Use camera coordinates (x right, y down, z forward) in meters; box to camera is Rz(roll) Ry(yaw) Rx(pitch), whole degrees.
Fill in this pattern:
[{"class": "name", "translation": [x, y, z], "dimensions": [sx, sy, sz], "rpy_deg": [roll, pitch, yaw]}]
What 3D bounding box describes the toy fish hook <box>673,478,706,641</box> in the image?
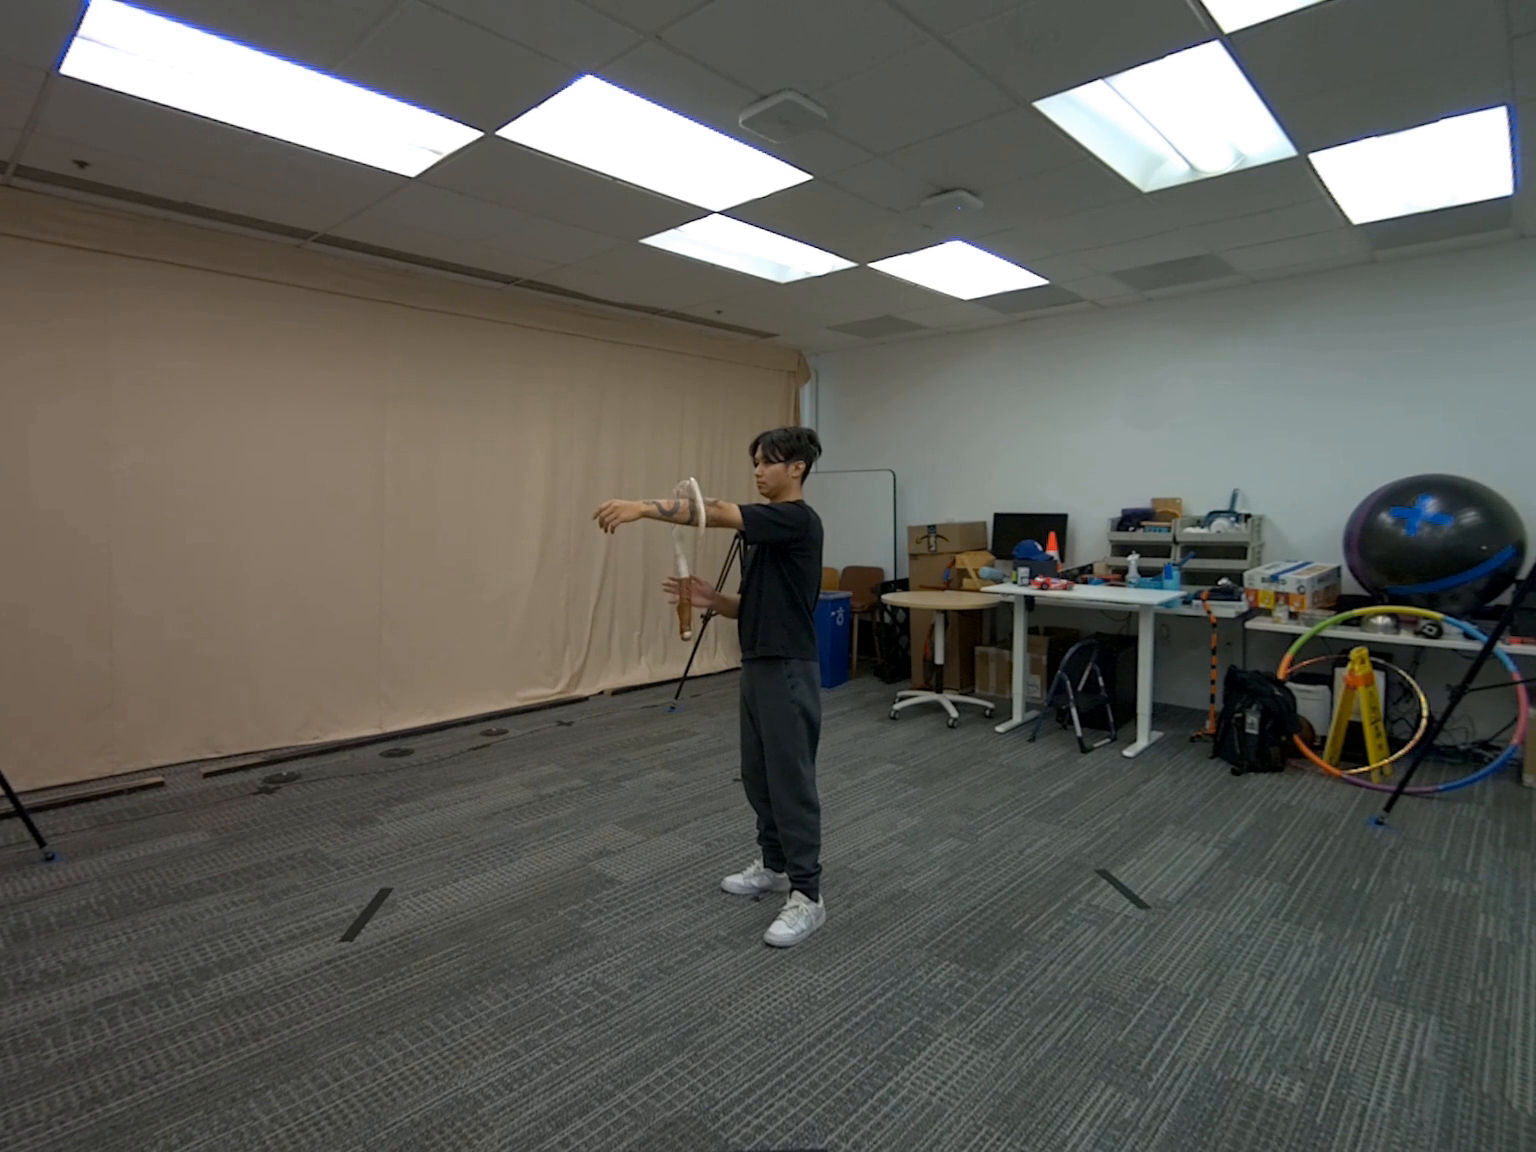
[{"class": "toy fish hook", "translation": [-0.242, -0.046, 2.643], "dimensions": [0.047, 0.508, 0.229], "rpy_deg": [-1, -5, -26]}]
